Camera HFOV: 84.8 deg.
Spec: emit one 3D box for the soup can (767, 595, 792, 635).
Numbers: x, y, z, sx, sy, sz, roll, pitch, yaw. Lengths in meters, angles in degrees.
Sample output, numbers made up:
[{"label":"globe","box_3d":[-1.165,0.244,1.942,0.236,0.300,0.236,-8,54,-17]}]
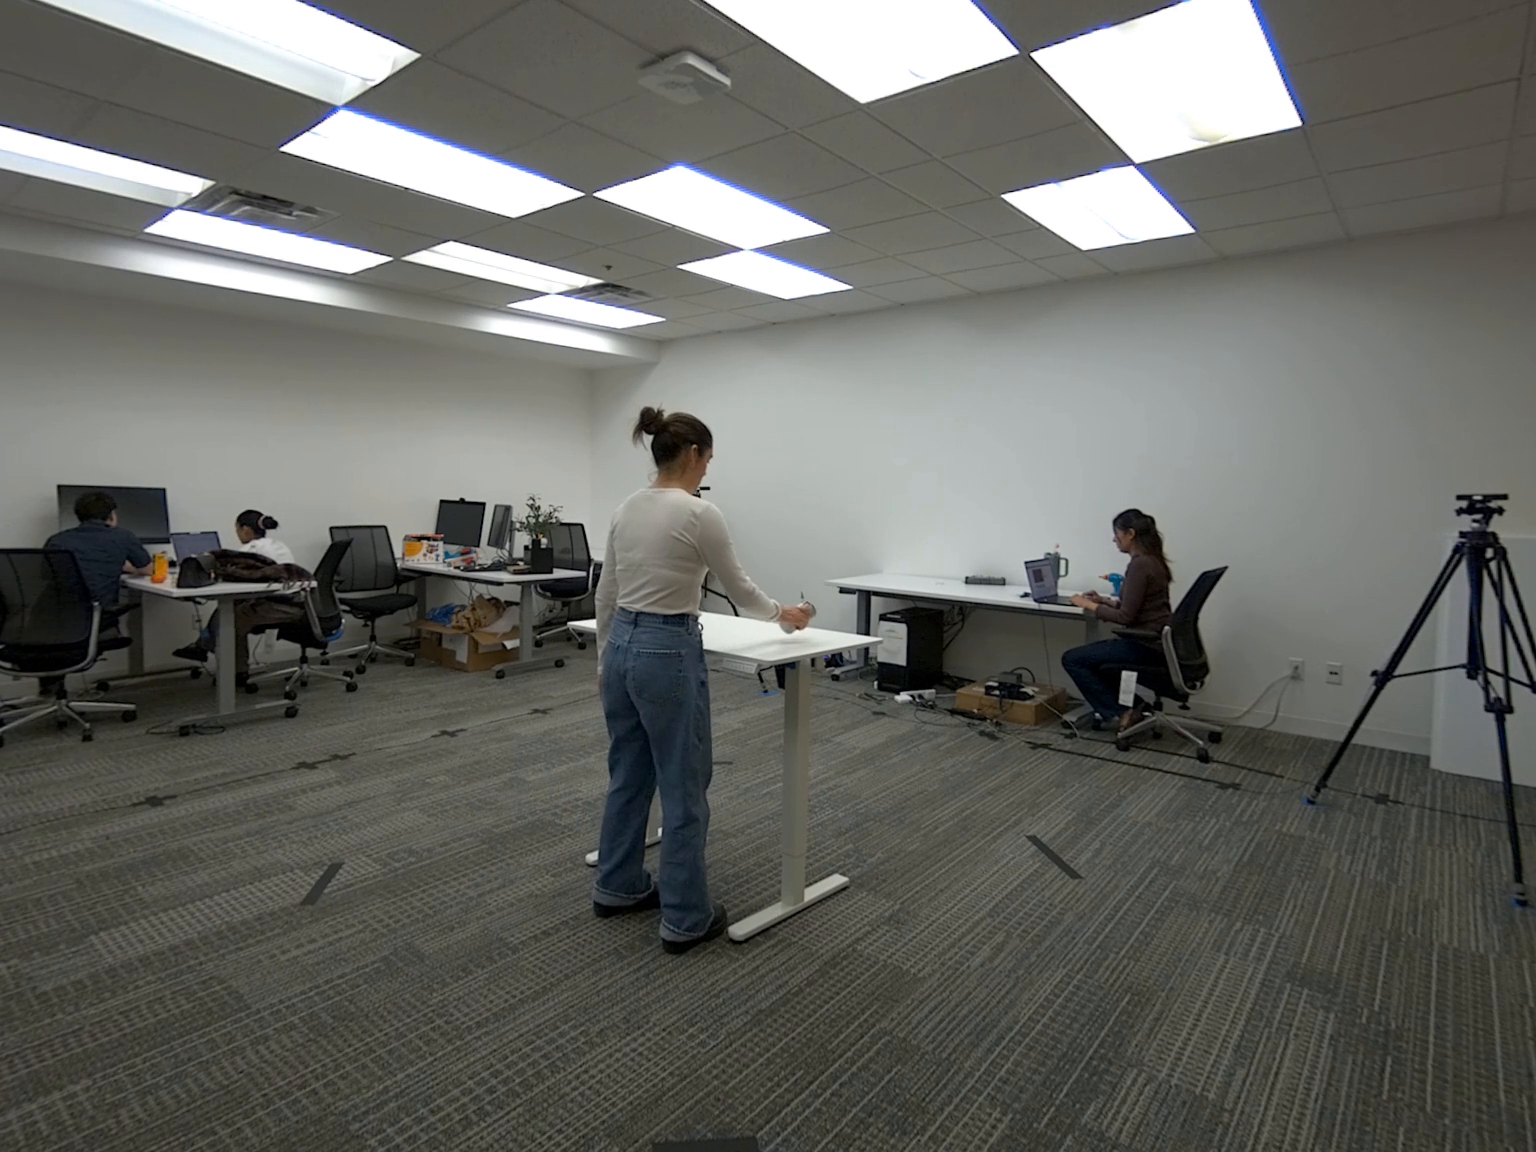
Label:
[{"label":"soup can","box_3d":[0.037,0.129,2.849,0.067,0.121,0.067,4,2,-2]}]
